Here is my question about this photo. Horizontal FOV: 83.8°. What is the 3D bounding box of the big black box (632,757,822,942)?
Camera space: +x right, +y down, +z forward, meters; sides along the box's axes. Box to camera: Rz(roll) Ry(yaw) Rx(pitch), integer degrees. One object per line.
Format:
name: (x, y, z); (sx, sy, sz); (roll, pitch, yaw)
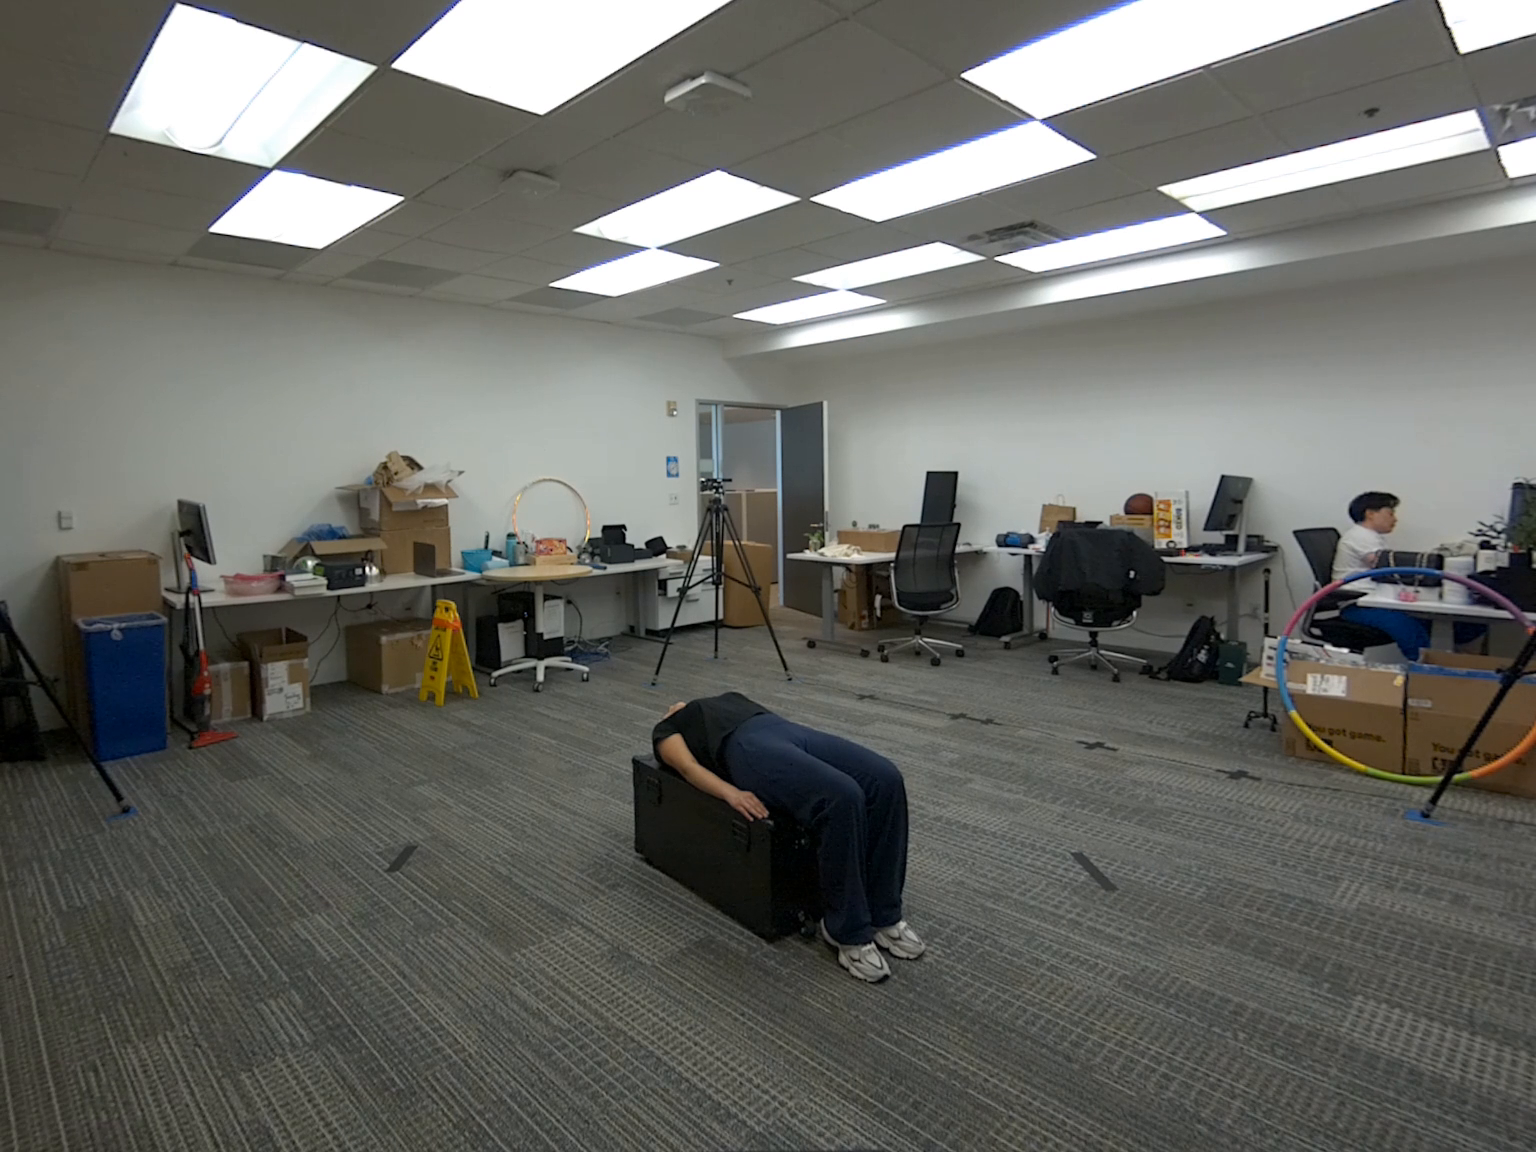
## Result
big black box: (-0.079, 0.875, 3.032); (0.507, 0.394, 0.889); (-5, 9, -39)
